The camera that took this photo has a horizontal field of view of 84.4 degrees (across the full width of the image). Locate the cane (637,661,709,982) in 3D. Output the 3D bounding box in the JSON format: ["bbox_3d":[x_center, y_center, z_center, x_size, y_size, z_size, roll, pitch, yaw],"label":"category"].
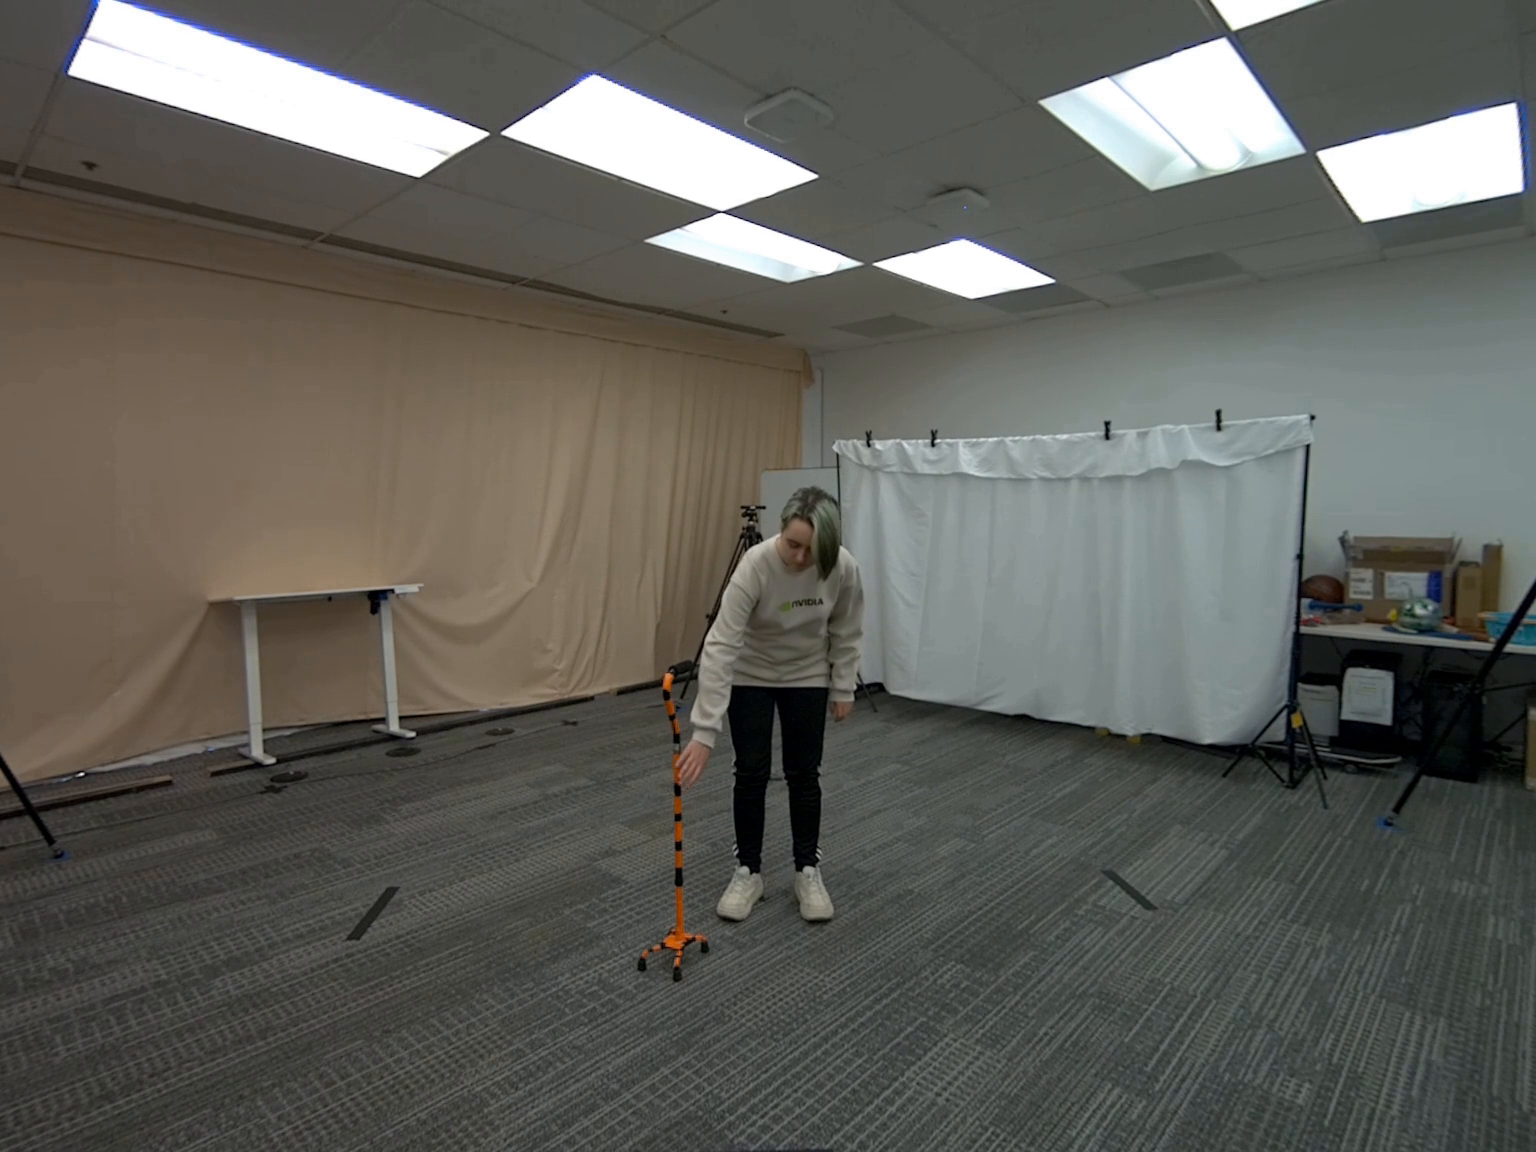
[{"bbox_3d":[-0.283,0.725,2.556,0.155,0.906,0.202,2,4,25],"label":"cane"}]
